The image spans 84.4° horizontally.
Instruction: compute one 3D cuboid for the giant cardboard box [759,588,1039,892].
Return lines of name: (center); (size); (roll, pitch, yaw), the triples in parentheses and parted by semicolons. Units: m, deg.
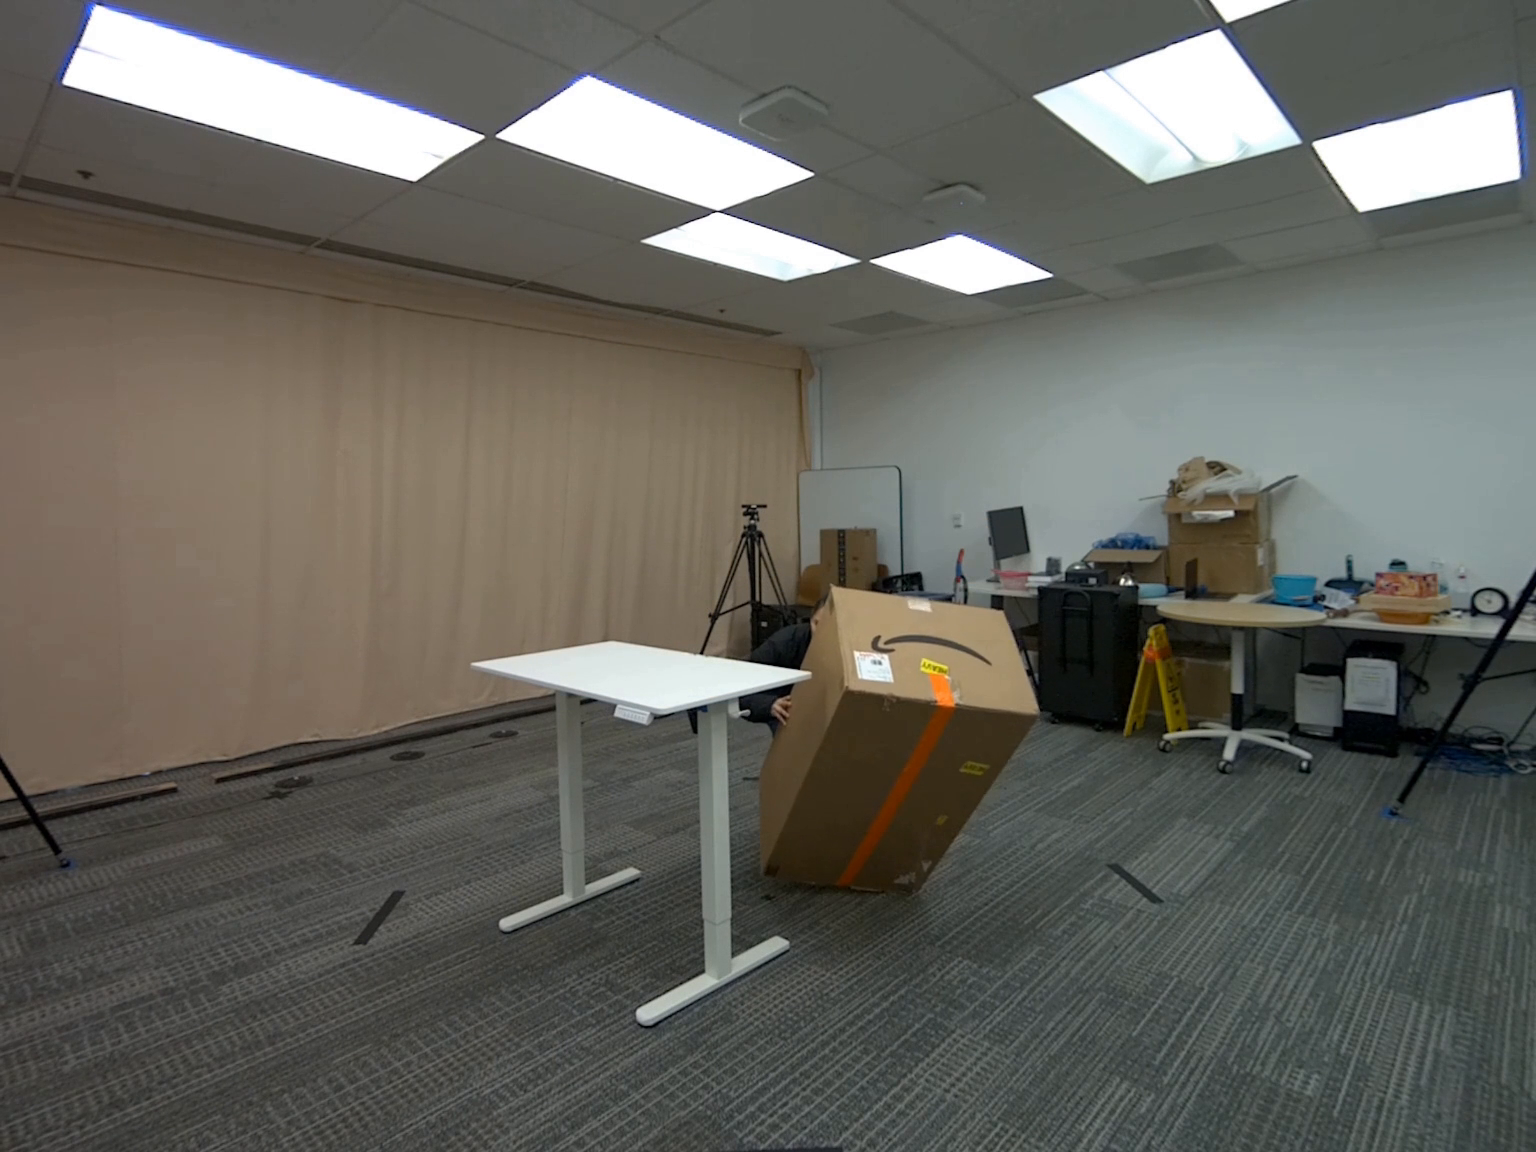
giant cardboard box: (0.380, 0.585, 2.816); (0.573, 1.016, 0.434); (10, 40, -8)
